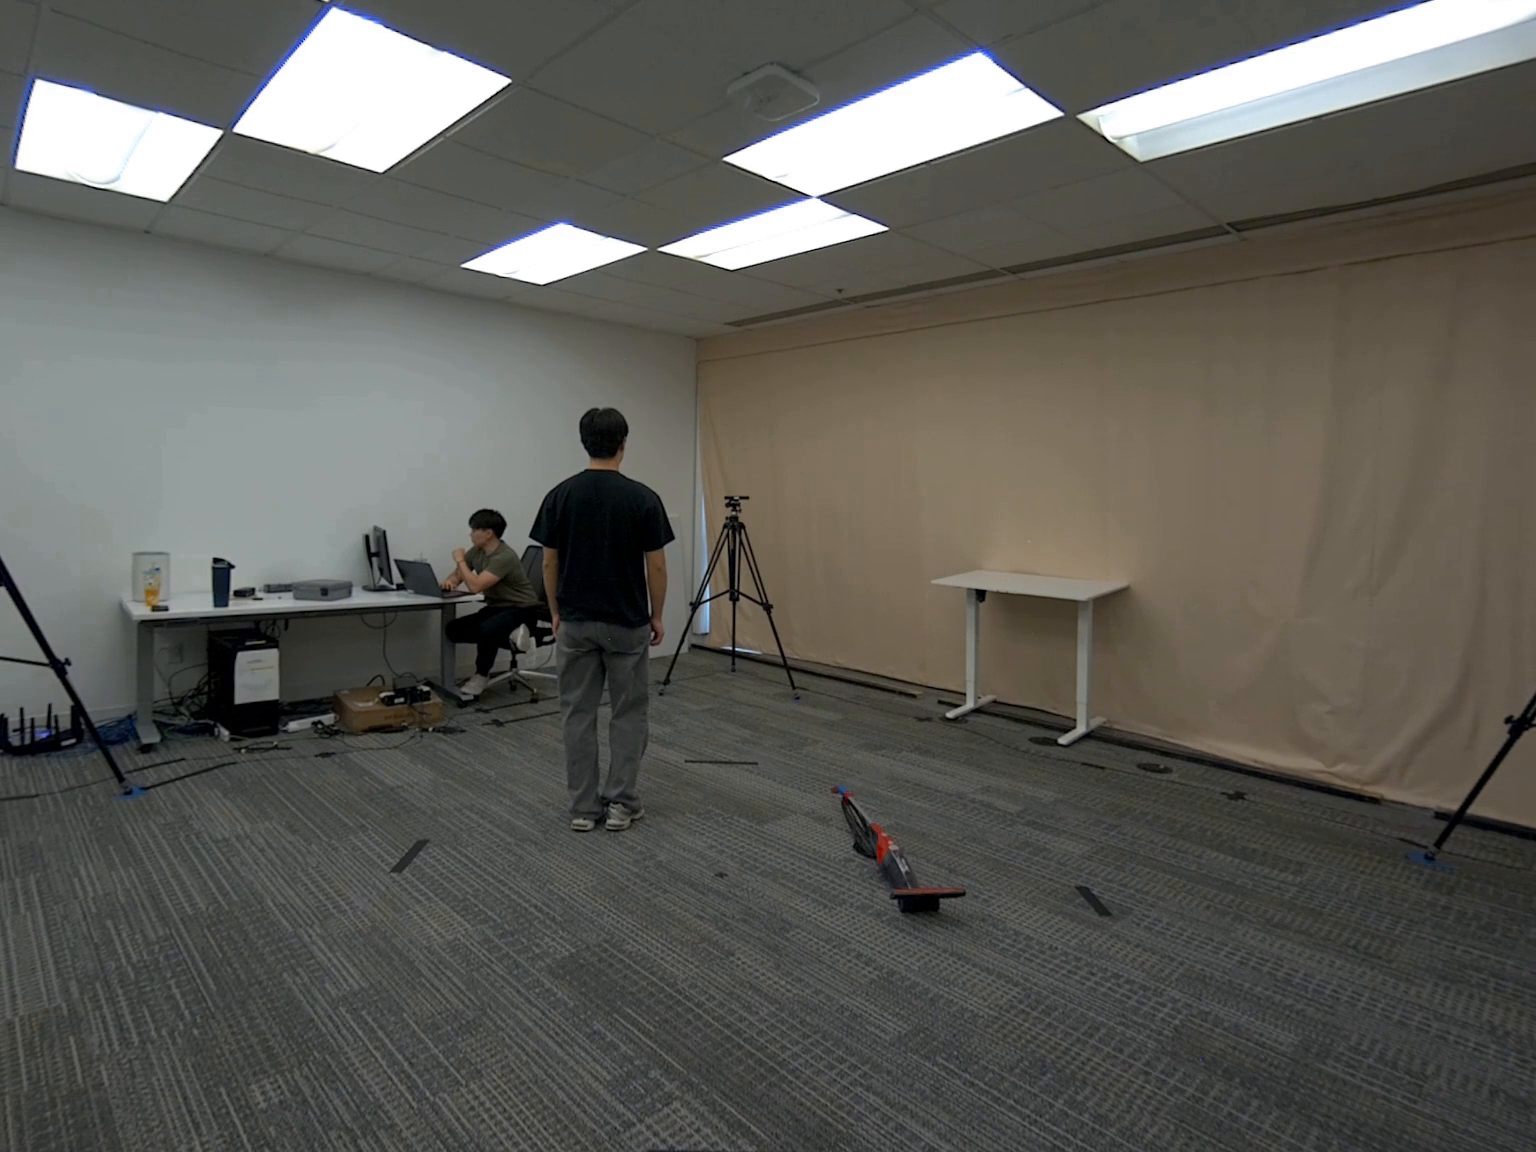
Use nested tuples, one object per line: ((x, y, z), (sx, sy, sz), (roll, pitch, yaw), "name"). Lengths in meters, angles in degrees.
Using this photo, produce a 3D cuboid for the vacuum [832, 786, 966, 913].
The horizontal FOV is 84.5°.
((0.408, 1.037, 3.342), (0.250, 0.144, 1.060), (4, 4, -11), "vacuum")
